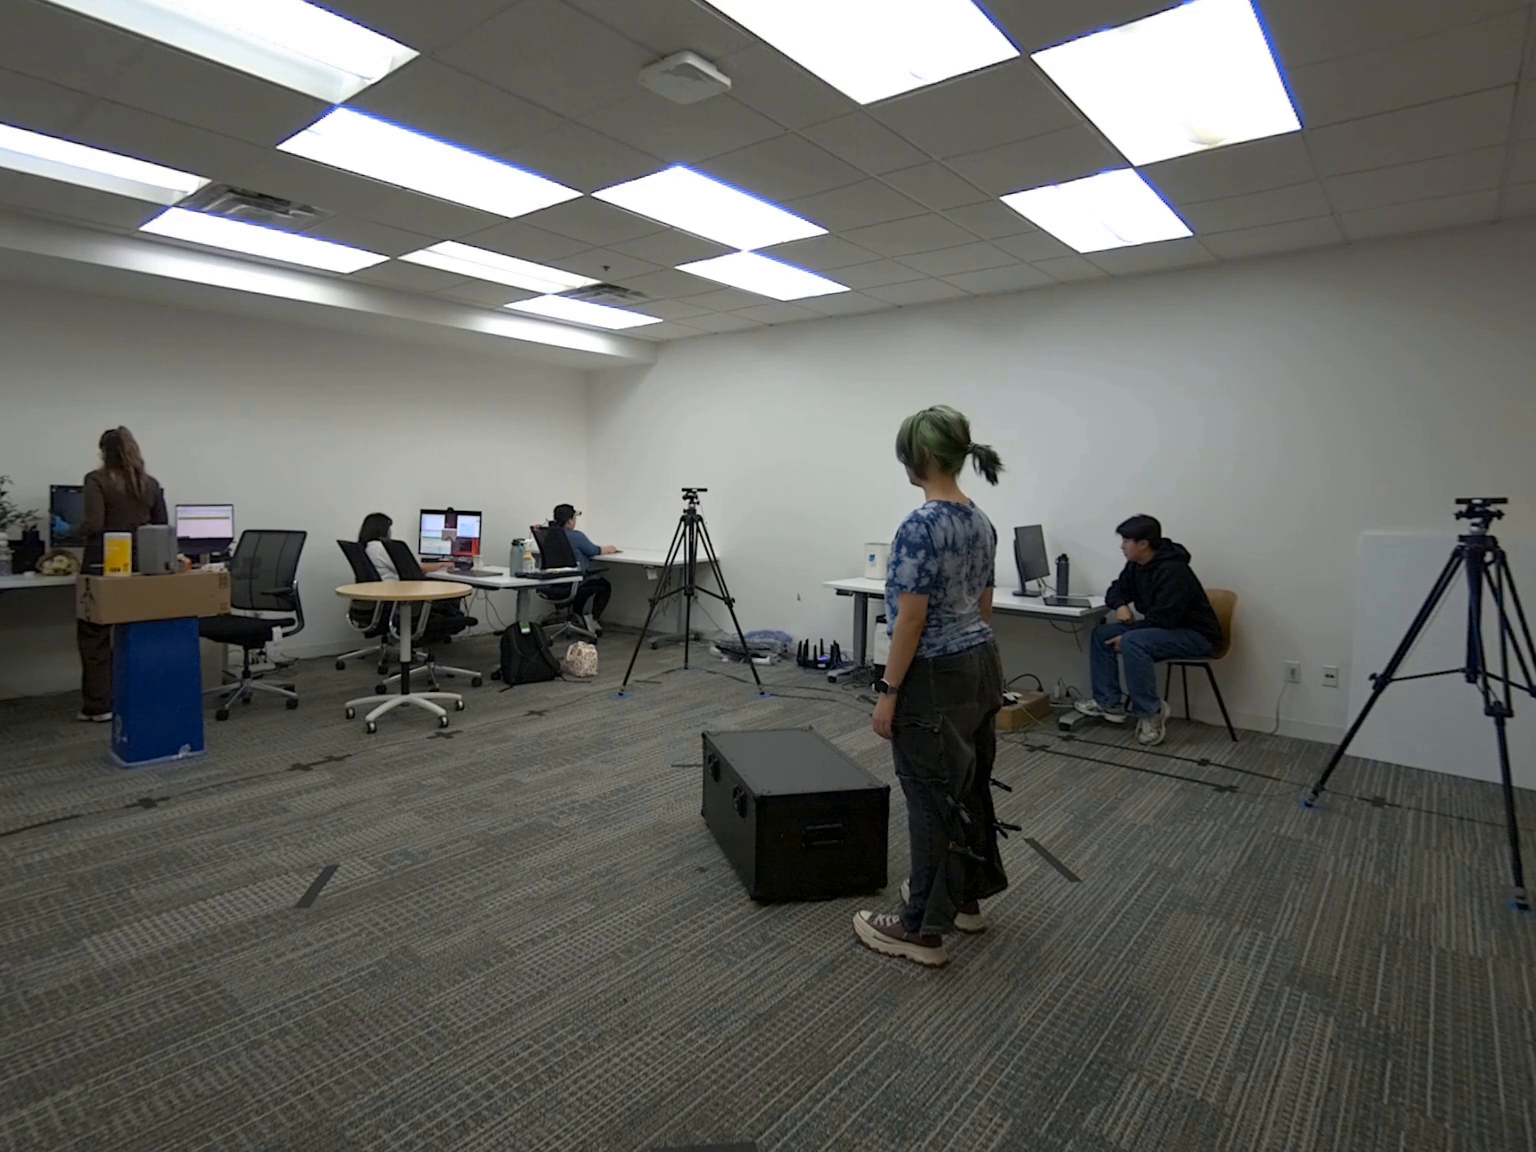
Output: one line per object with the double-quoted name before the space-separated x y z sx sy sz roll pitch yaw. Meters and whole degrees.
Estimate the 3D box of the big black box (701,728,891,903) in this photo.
"big black box" 0.063 0.872 3.219 0.513 0.395 0.878 0 5 -16
